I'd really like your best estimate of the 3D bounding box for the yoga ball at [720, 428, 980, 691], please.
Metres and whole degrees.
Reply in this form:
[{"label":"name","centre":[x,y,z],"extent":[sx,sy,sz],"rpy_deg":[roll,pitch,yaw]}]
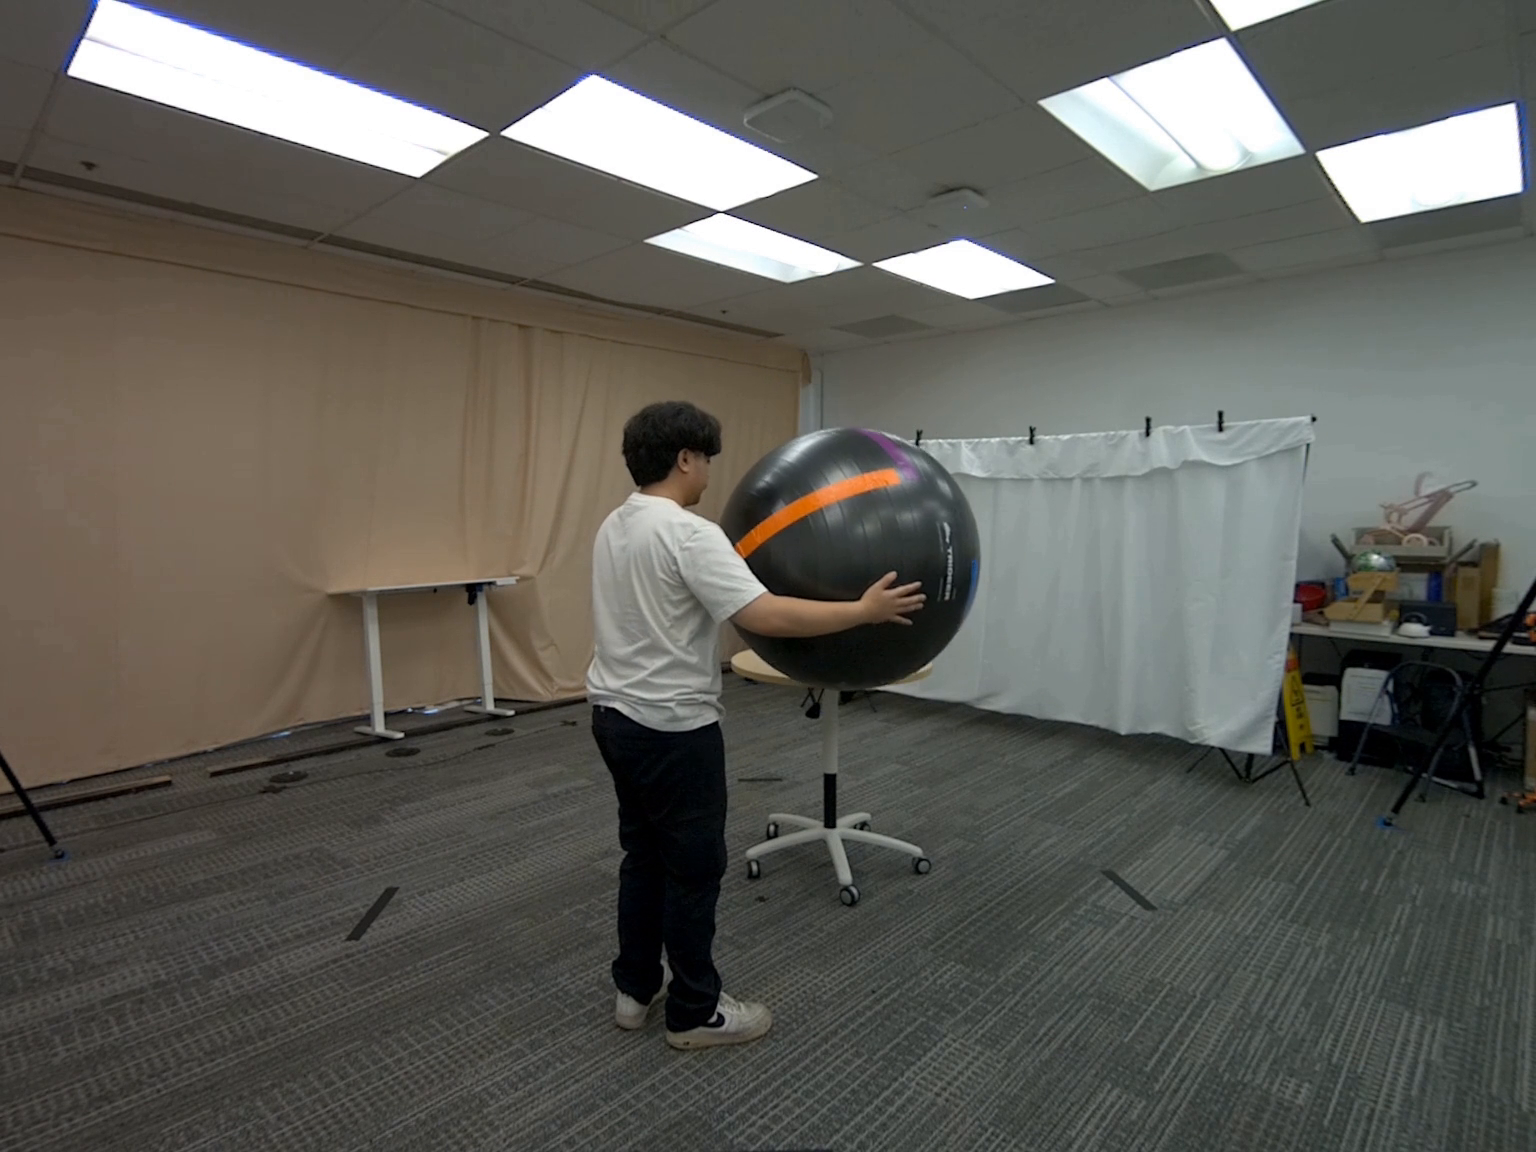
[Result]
[{"label":"yoga ball","centre":[0.225,-0.049,2.448],"extent":[0.757,0.756,0.760],"rpy_deg":[0,4,-2]}]
